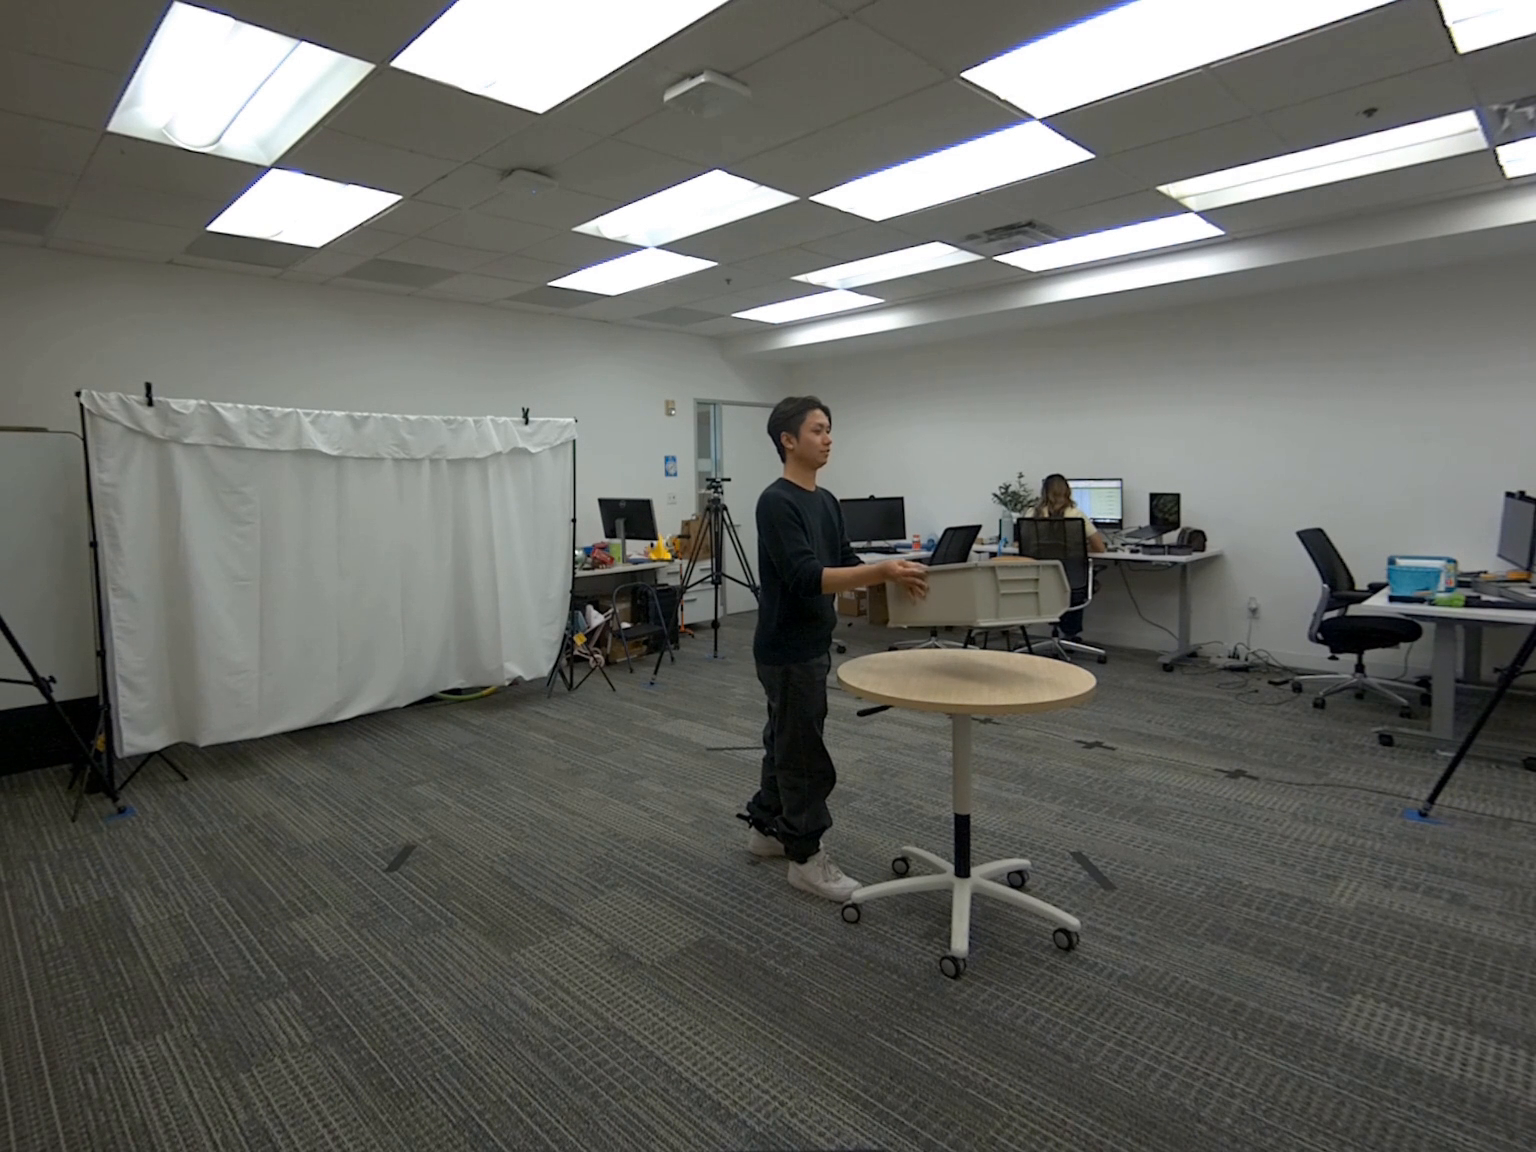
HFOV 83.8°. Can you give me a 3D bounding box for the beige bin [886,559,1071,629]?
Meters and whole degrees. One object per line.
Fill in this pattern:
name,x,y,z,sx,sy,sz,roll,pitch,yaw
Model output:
beige bin,0.643,0.064,2.622,0.368,0.189,0.431,-2,-2,-29
